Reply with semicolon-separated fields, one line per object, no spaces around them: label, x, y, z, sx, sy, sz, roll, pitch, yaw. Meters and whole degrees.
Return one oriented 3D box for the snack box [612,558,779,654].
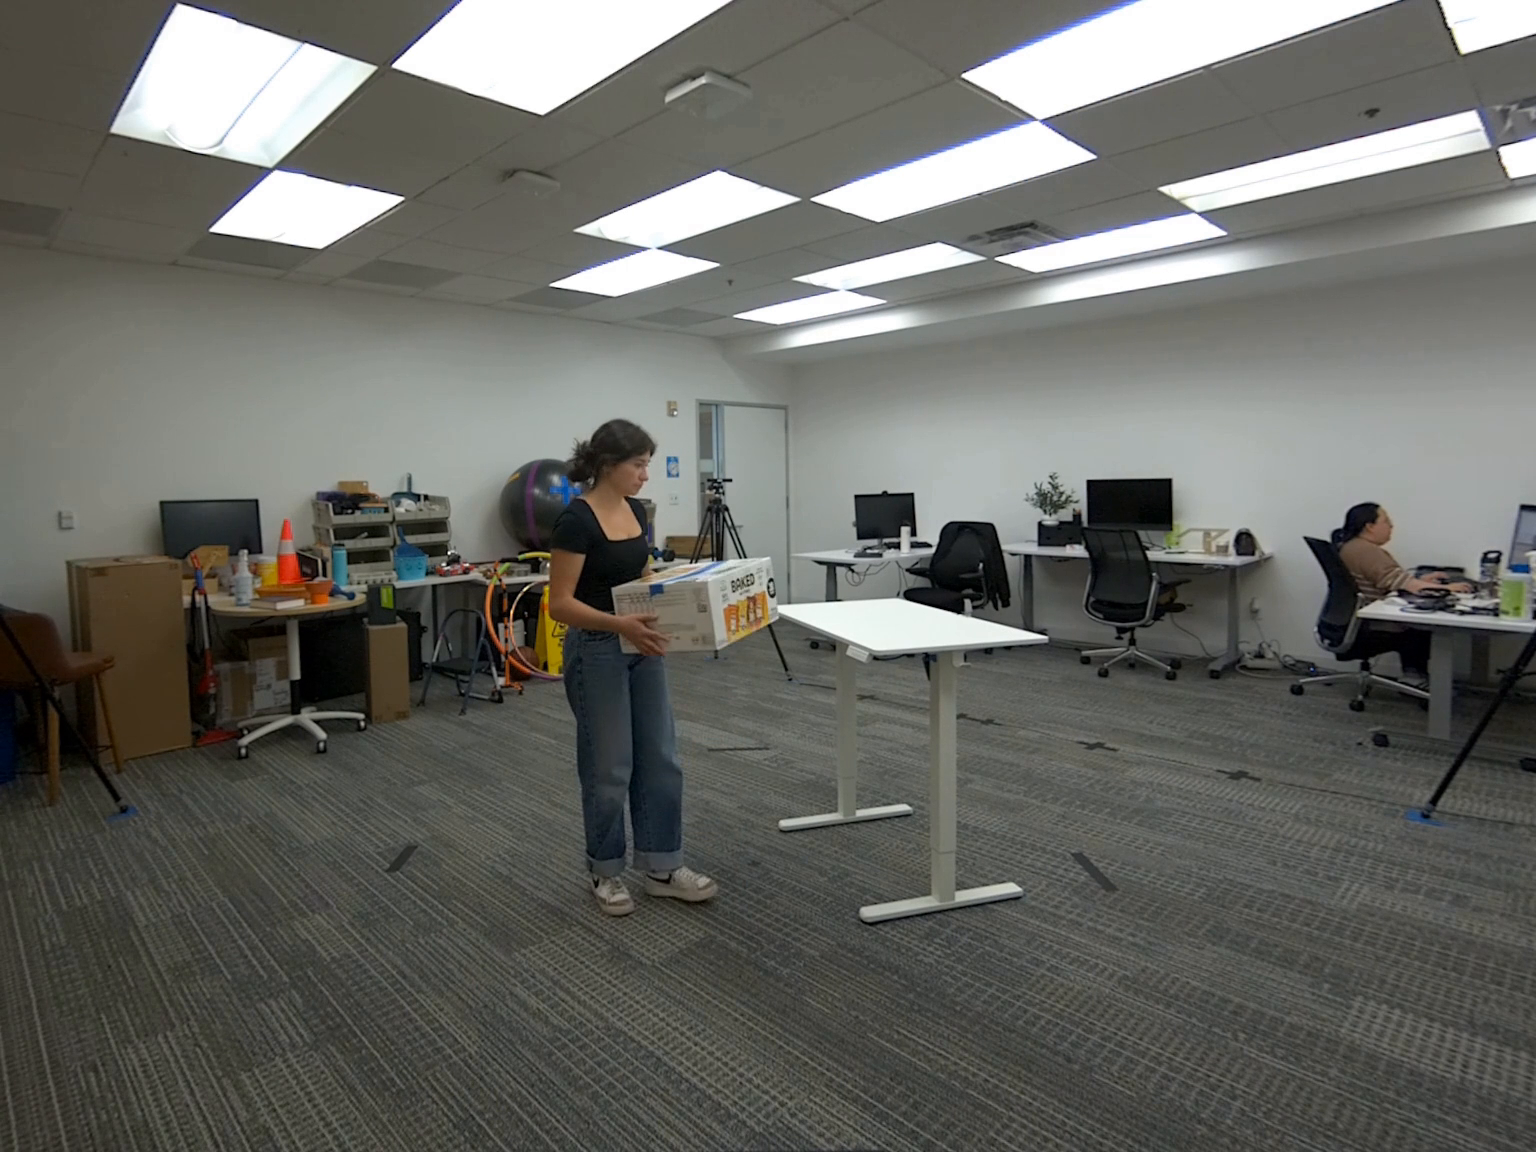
snack box;-0.217;0.087;2.641;0.348;0.204;0.398;-5;7;29
